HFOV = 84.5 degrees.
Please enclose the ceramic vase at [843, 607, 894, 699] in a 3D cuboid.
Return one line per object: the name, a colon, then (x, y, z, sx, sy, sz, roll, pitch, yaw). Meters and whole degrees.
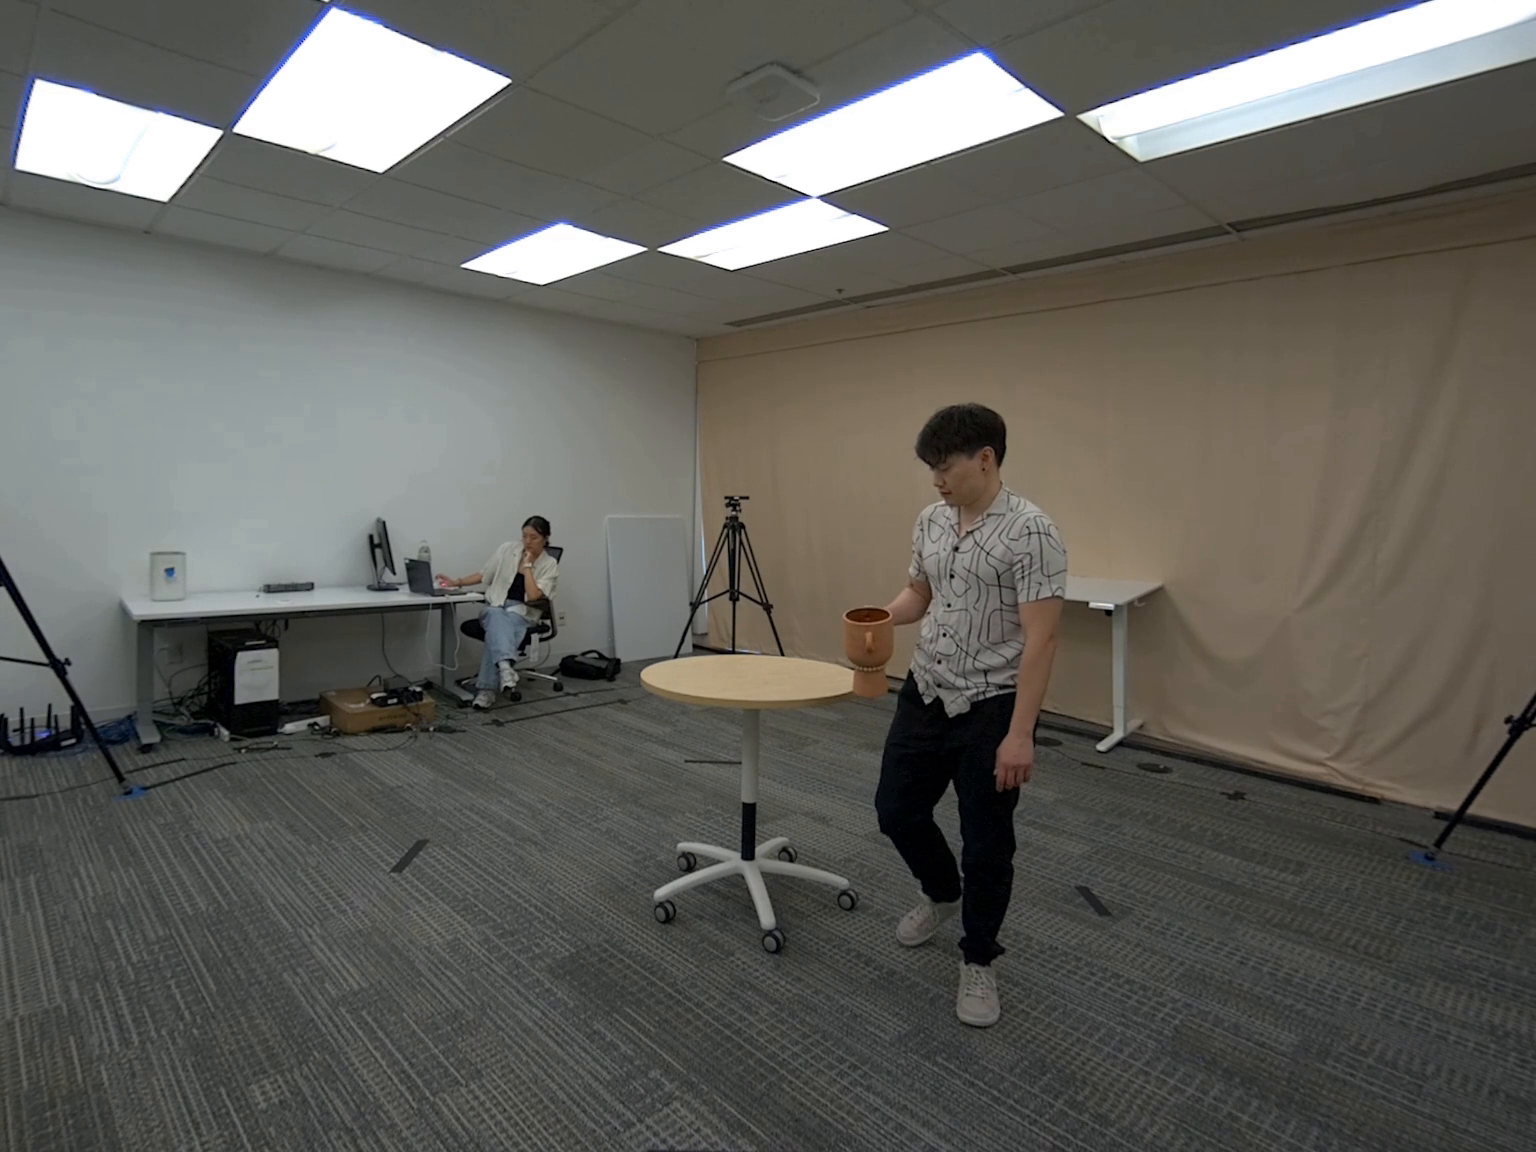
ceramic vase: (0.275, 0.208, 2.273, 0.138, 0.217, 0.156, 10, 21, 42)
